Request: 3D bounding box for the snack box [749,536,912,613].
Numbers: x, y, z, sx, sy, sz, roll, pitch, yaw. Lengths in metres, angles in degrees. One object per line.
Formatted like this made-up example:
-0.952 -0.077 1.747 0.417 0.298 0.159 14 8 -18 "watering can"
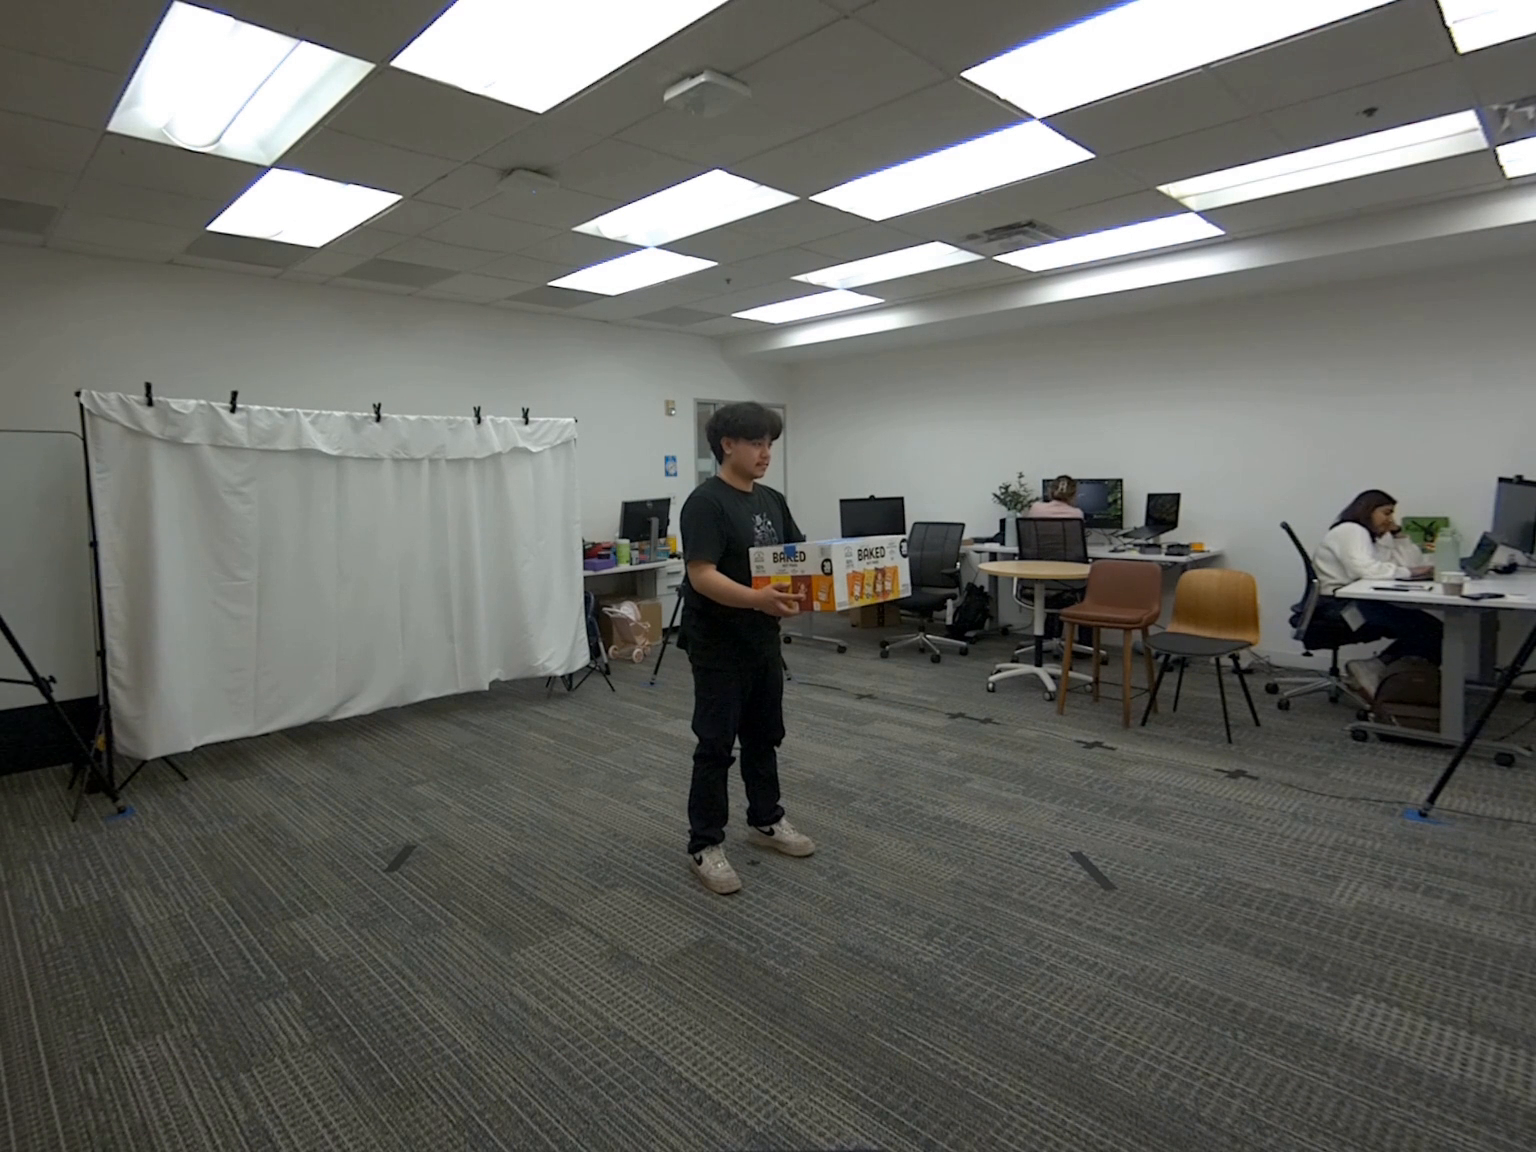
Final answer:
0.201 -0.013 2.784 0.350 0.205 0.394 -2 3 44 "snack box"
